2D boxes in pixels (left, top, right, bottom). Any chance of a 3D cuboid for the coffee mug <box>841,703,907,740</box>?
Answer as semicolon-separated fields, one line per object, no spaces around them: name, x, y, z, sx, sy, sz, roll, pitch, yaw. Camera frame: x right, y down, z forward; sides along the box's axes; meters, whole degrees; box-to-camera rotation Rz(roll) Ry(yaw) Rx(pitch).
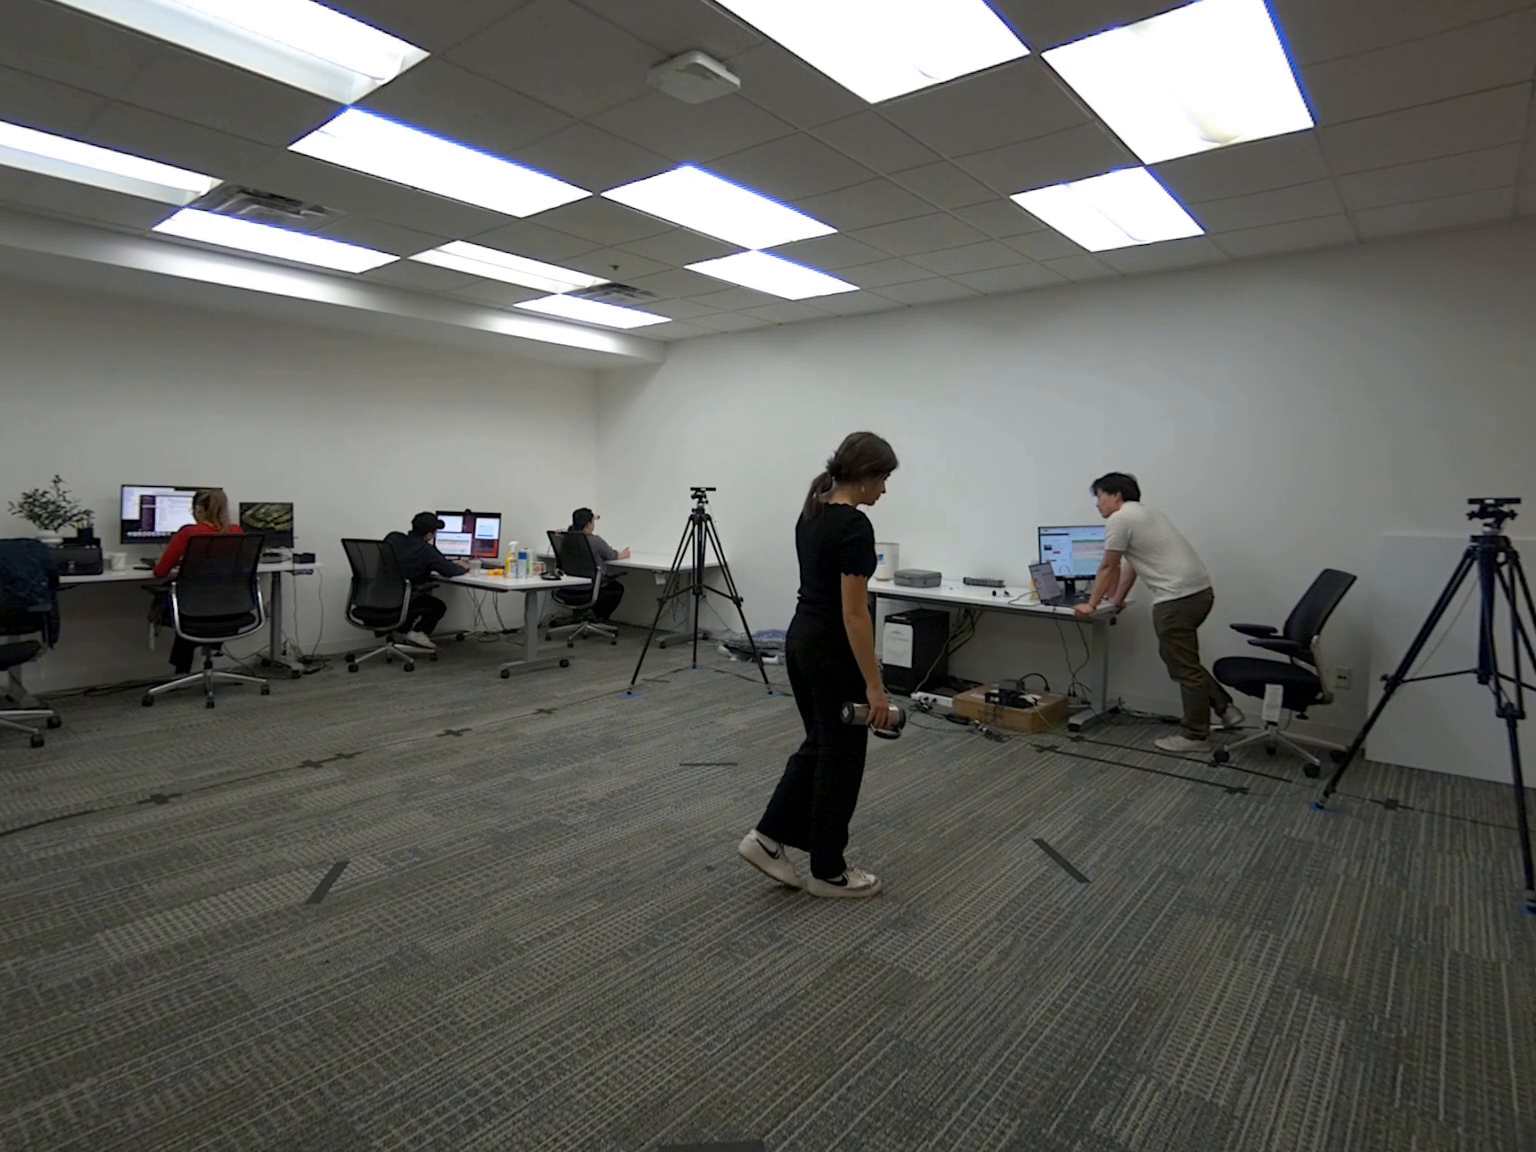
coffee mug;0.343;0.455;2.744;0.197;0.087;0.126;12;20;-26
